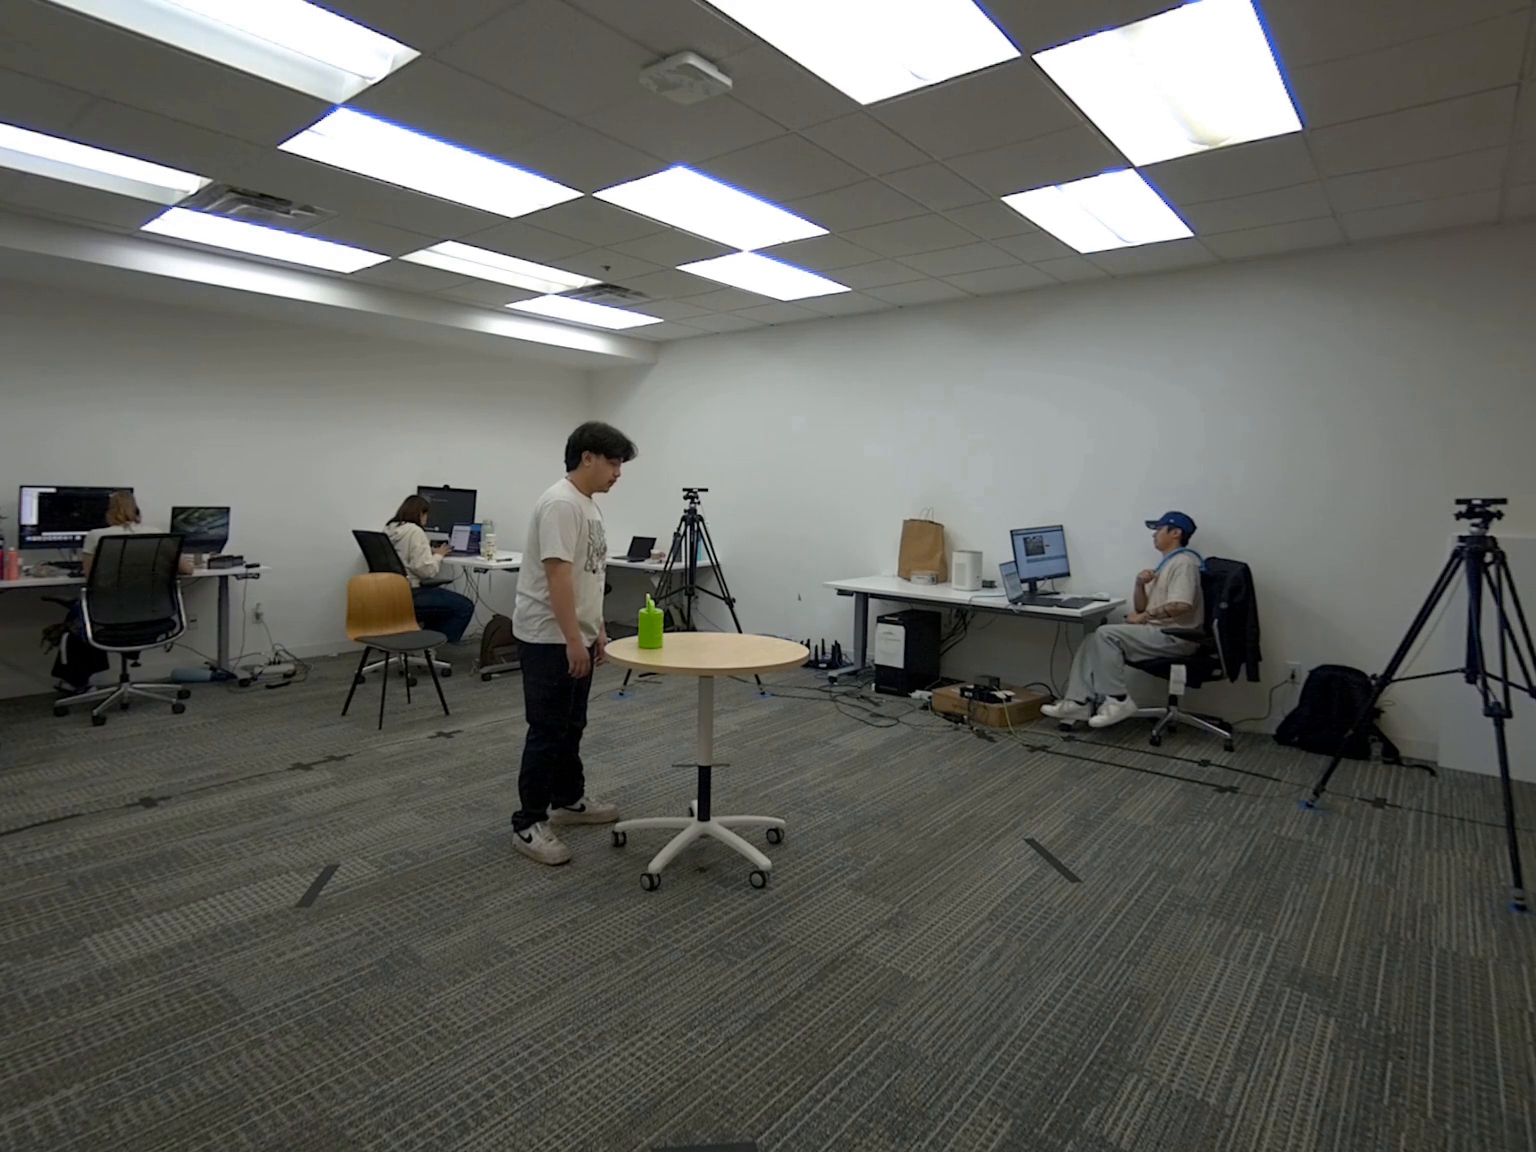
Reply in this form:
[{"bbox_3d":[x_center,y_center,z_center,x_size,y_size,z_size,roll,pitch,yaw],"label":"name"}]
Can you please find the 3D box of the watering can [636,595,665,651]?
[{"bbox_3d":[-0.460,0.175,3.257,0.098,0.176,0.279,2,6,-1],"label":"watering can"}]
